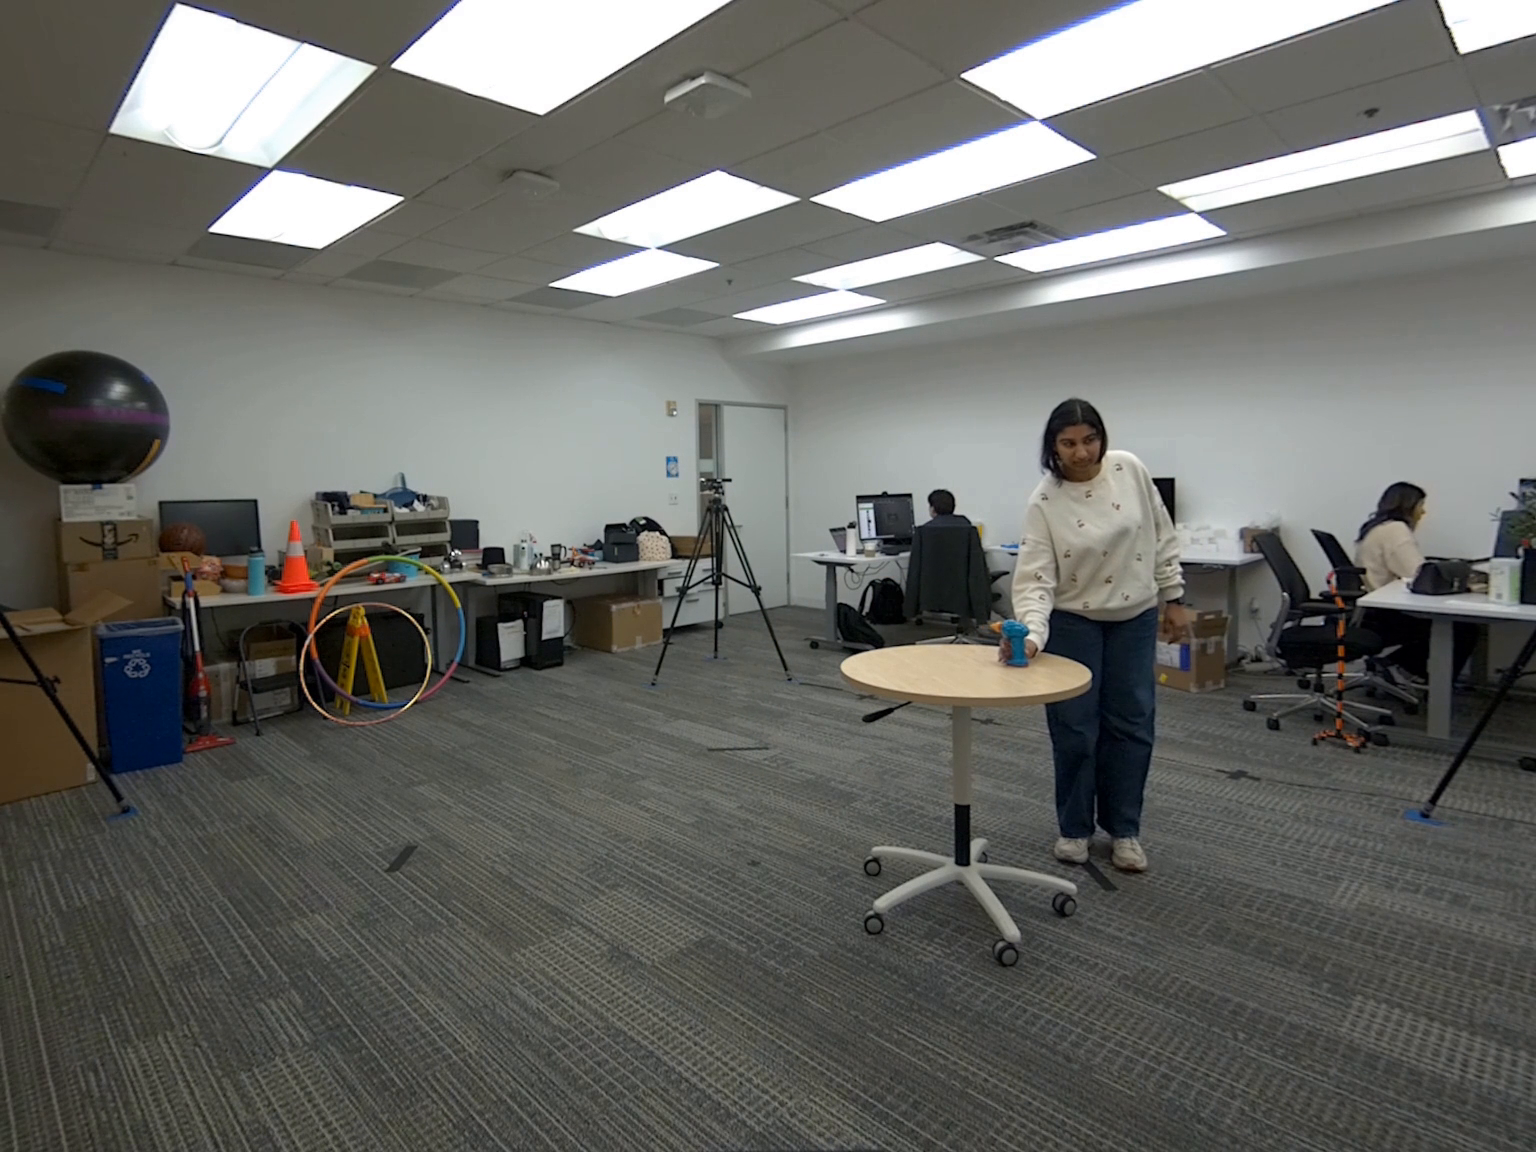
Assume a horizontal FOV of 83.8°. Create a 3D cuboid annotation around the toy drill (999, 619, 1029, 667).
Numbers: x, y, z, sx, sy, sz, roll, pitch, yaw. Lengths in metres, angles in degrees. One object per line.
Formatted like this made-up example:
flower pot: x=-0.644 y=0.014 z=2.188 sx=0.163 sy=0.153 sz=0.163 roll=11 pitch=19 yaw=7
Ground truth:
toy drill: x=0.790 y=0.212 z=2.751 sx=0.060 sy=0.145 sz=0.173 roll=-3 pitch=5 yaw=-19
